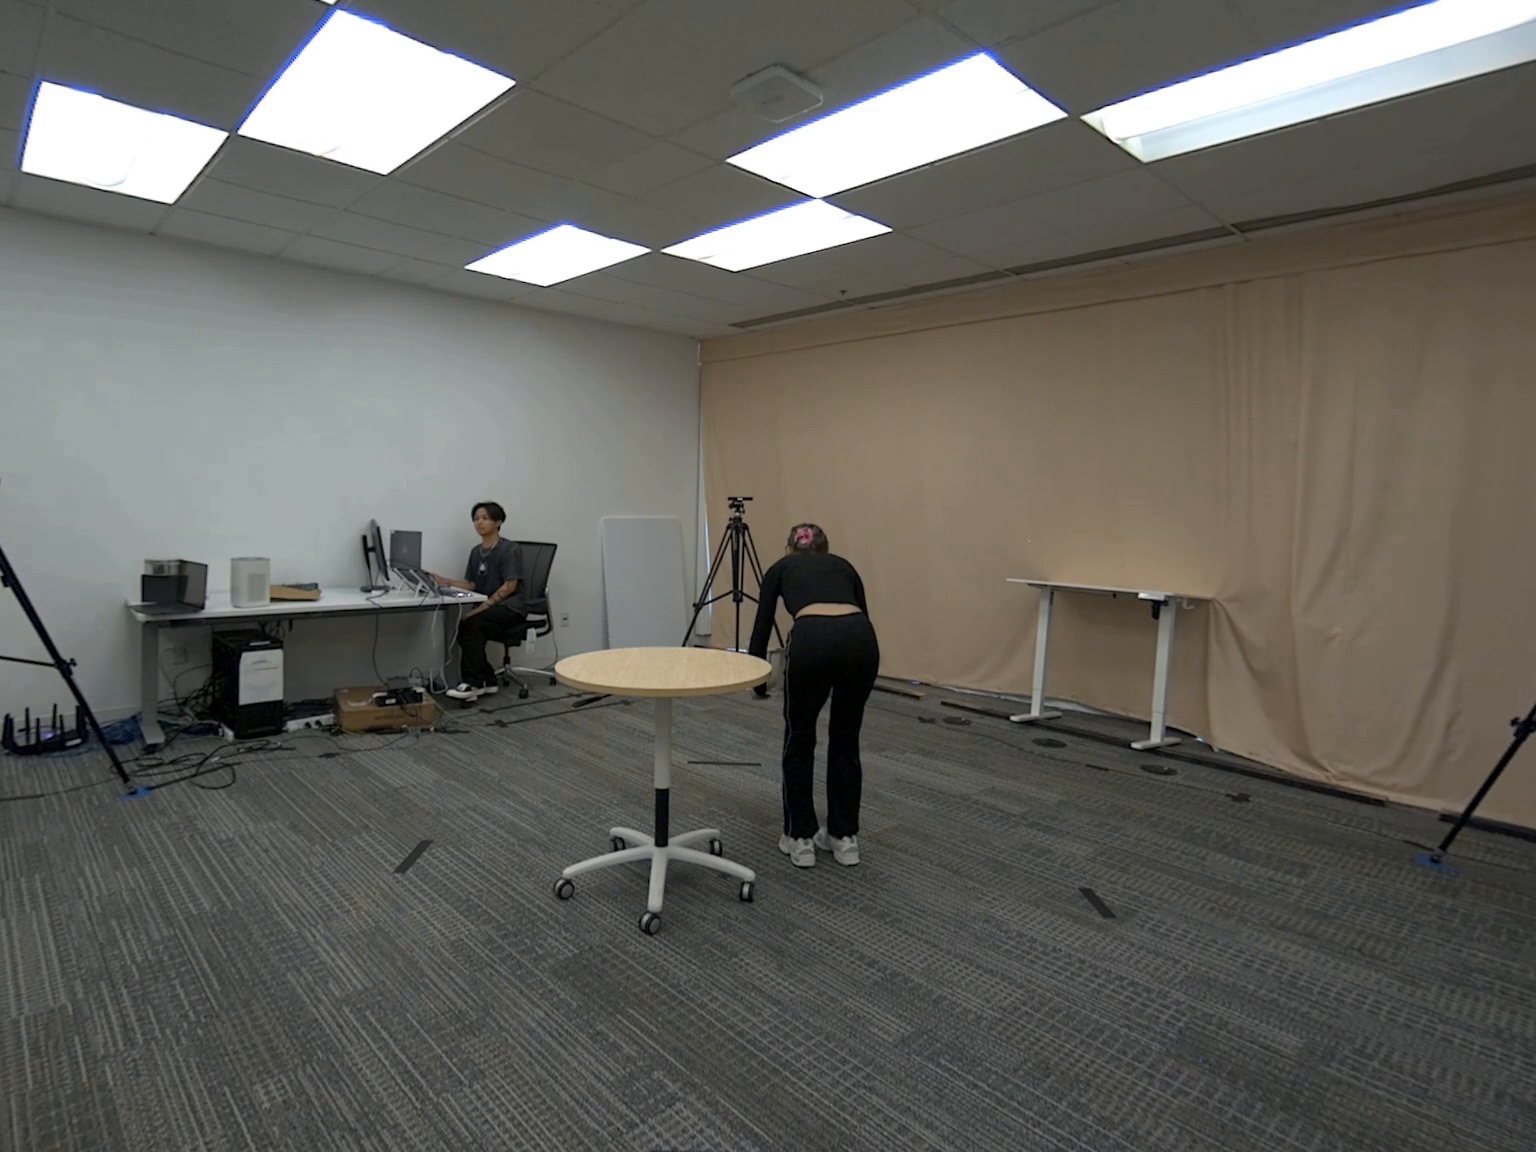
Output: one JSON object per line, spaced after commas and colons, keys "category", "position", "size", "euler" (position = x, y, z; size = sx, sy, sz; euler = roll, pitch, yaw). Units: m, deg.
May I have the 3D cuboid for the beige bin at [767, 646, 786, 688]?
{"category": "beige bin", "position": [0.144, 0.437, 3.733], "size": [0.414, 0.190, 0.382], "euler": [7, -8, -23]}
